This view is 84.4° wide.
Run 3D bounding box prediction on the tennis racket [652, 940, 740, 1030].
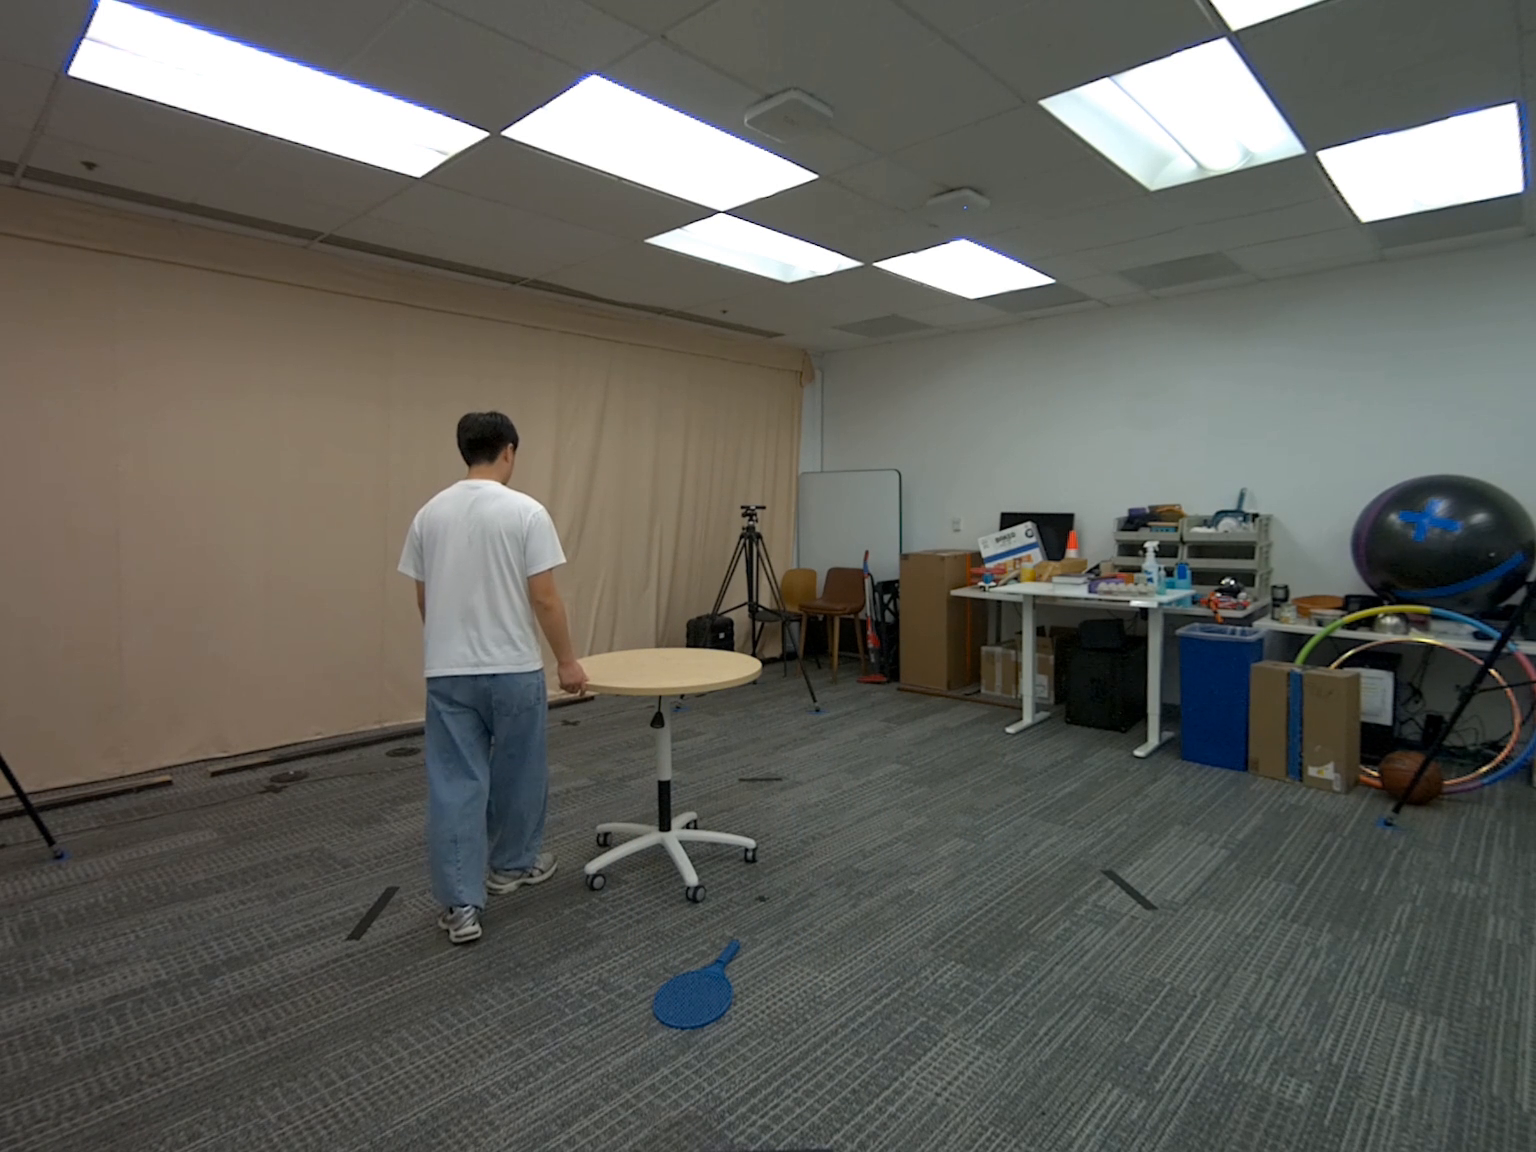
[{"bbox_3d":[-0.176,1.177,2.442,0.219,0.031,0.424,3,8,24],"label":"tennis racket"}]
